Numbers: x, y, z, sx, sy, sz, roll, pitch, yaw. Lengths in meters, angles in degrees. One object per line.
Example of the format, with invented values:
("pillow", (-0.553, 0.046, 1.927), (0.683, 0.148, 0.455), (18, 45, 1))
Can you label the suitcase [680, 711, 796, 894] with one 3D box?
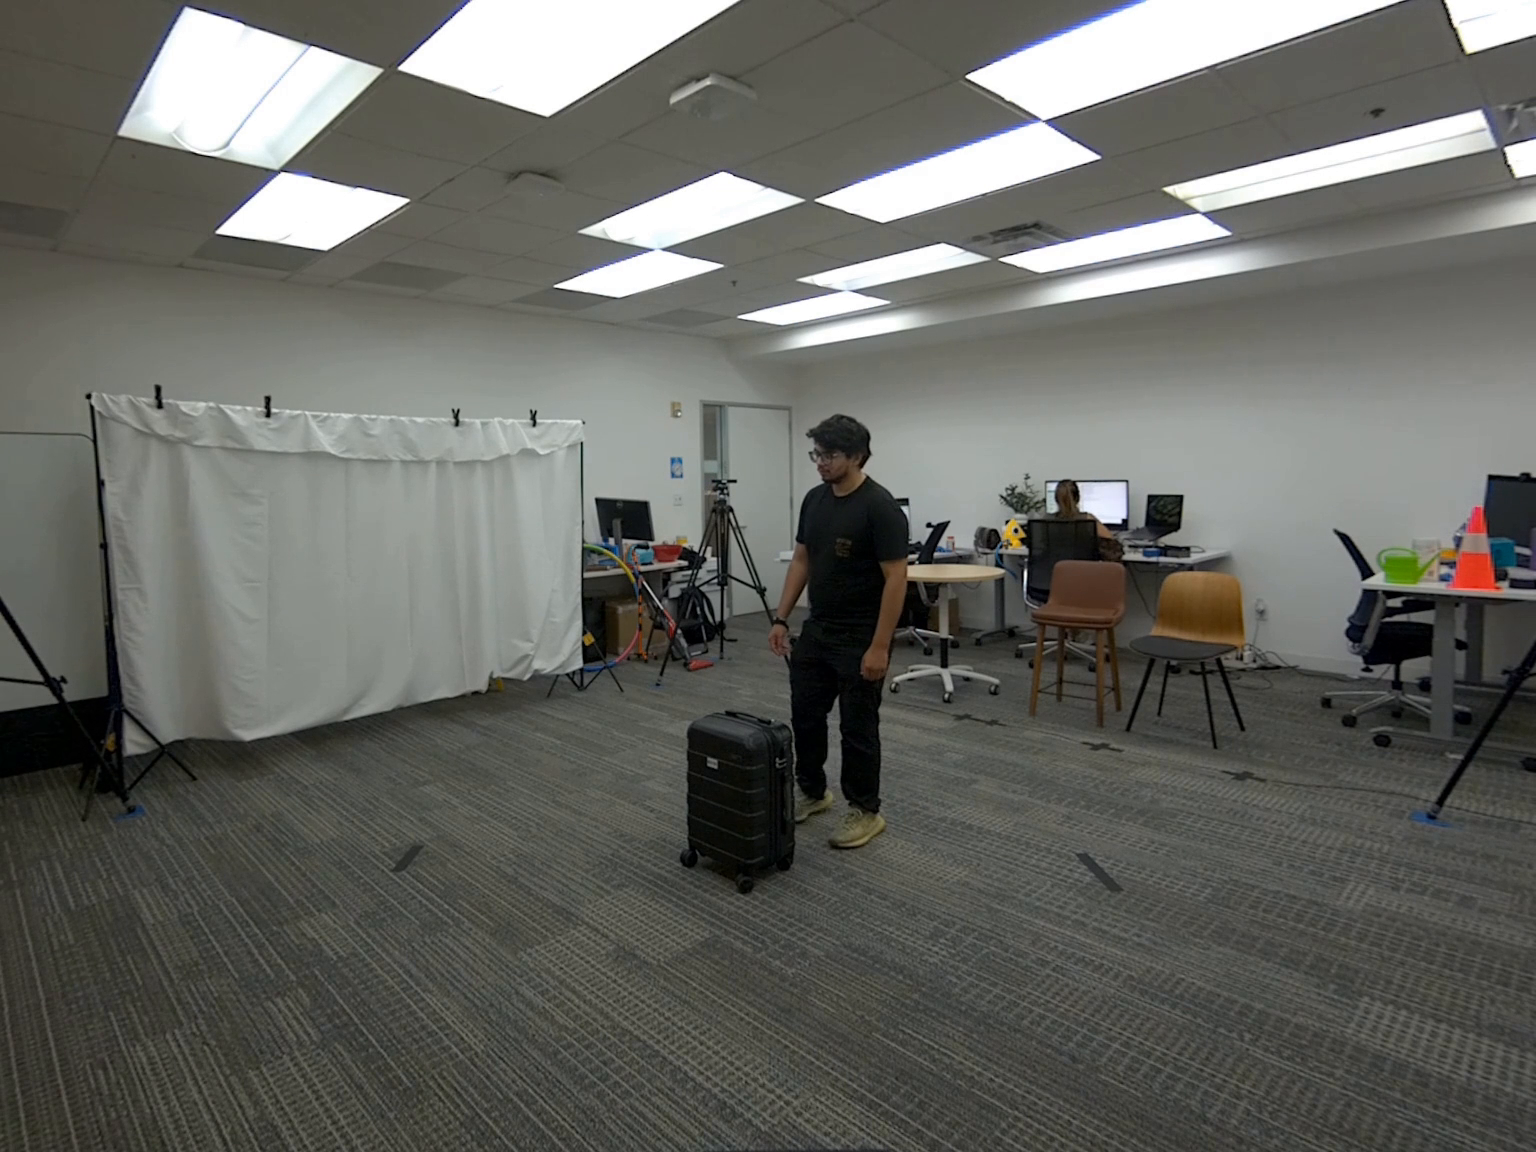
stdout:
("suitcase", (-0.099, 0.778, 3.066), (0.387, 0.547, 0.241), (5, 6, 44))
